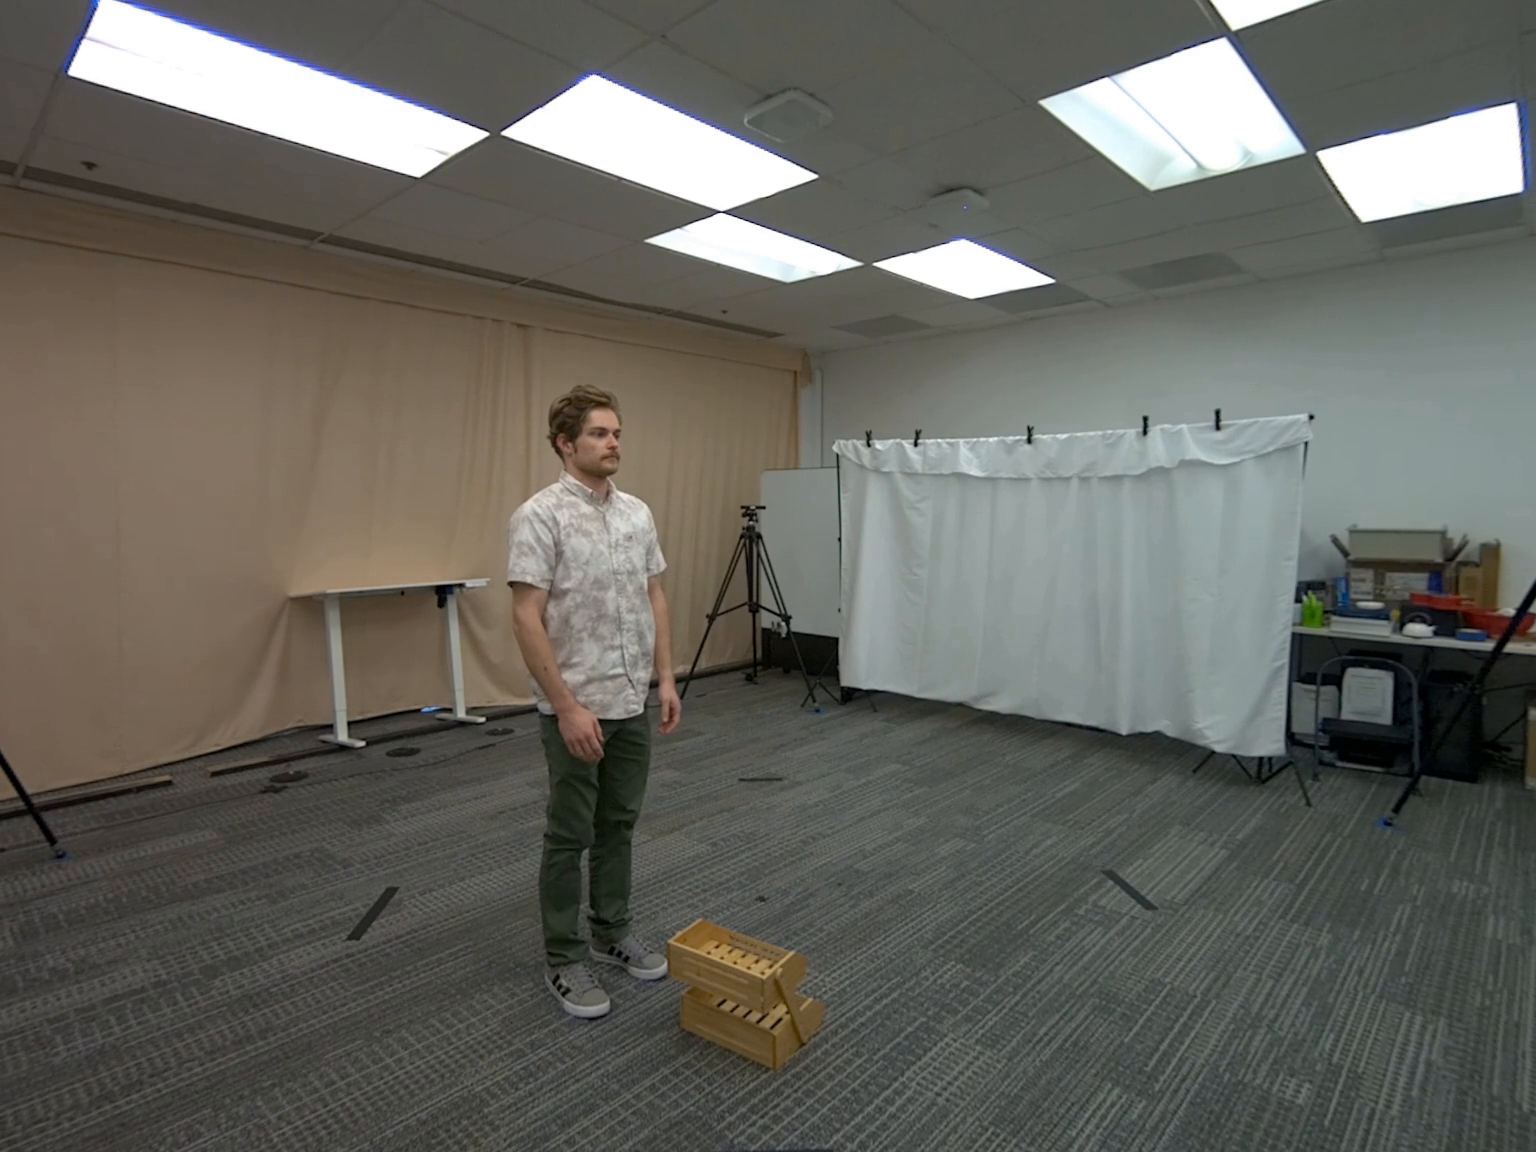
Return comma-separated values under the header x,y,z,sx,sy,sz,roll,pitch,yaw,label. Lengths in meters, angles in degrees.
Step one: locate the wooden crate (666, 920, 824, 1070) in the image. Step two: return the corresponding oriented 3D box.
x,y,z,sx,sy,sz,roll,pitch,yaw,label
-0.050,1.074,2.228,0.334,0.272,0.294,3,6,34,wooden crate
